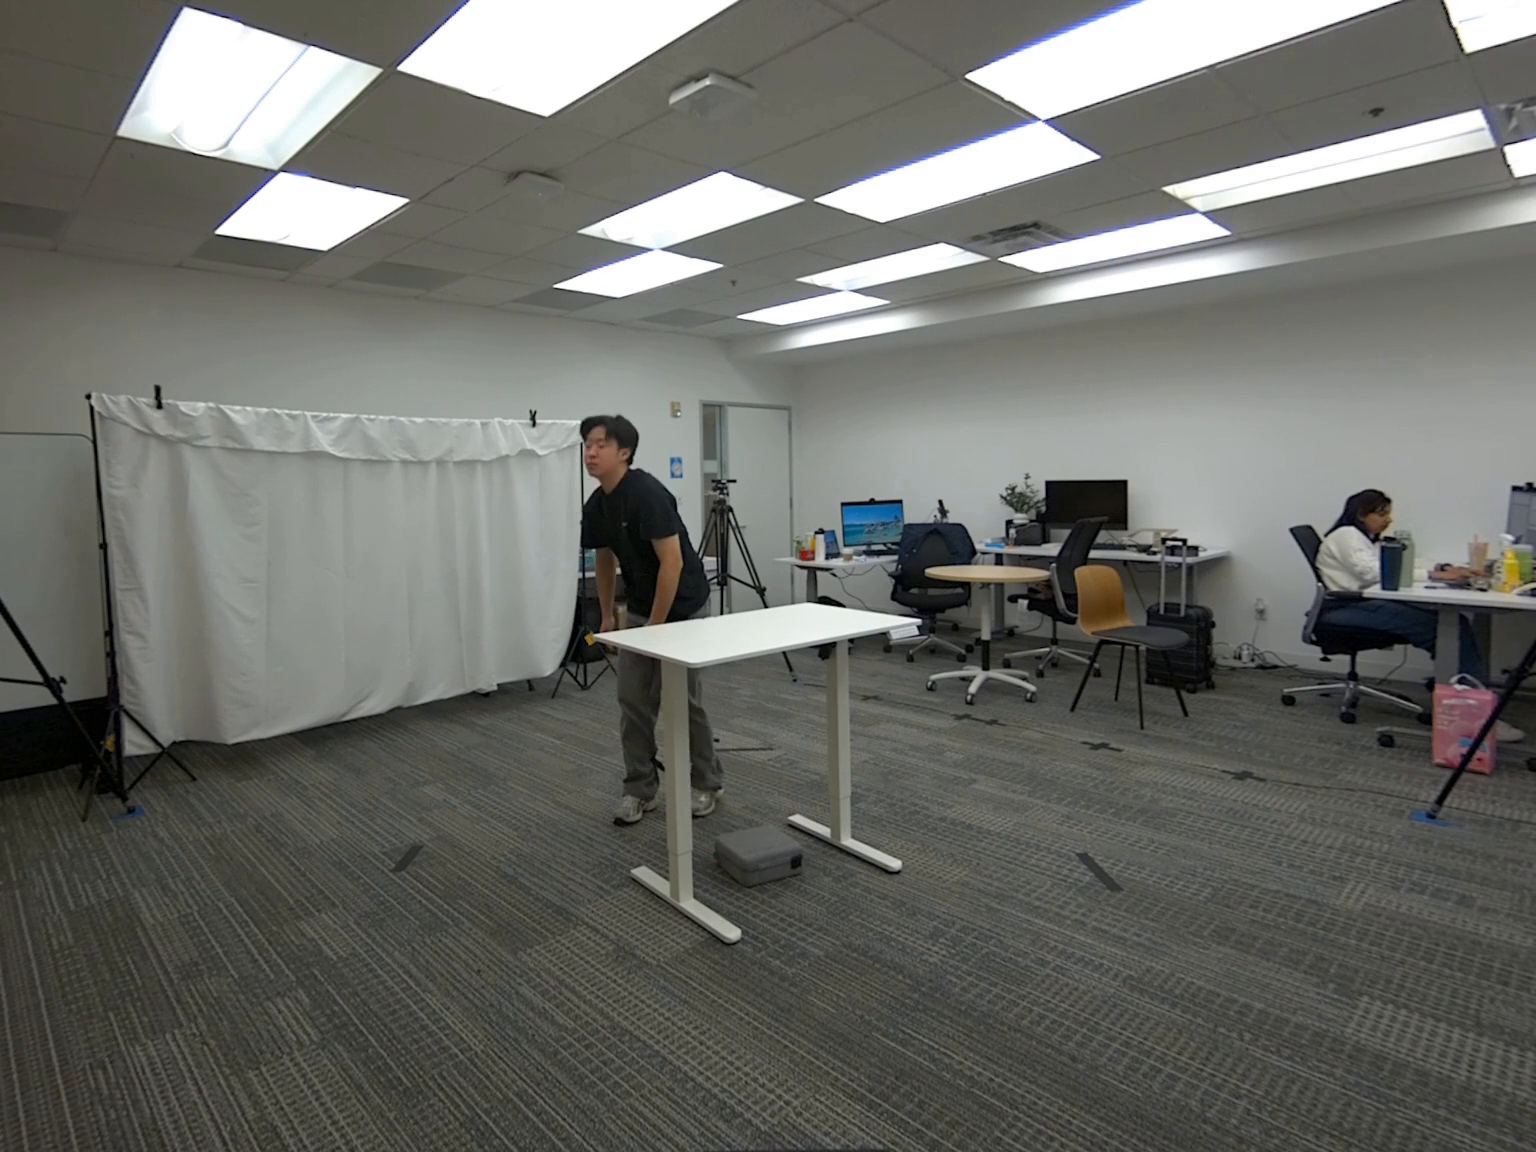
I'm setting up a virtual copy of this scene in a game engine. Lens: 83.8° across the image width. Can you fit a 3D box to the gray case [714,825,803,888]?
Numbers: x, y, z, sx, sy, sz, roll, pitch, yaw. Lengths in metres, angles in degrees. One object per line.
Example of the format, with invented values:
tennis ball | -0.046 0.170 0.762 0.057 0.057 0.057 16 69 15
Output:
gray case | -0.026 0.995 3.062 0.257 0.102 0.295 -4 6 -28
